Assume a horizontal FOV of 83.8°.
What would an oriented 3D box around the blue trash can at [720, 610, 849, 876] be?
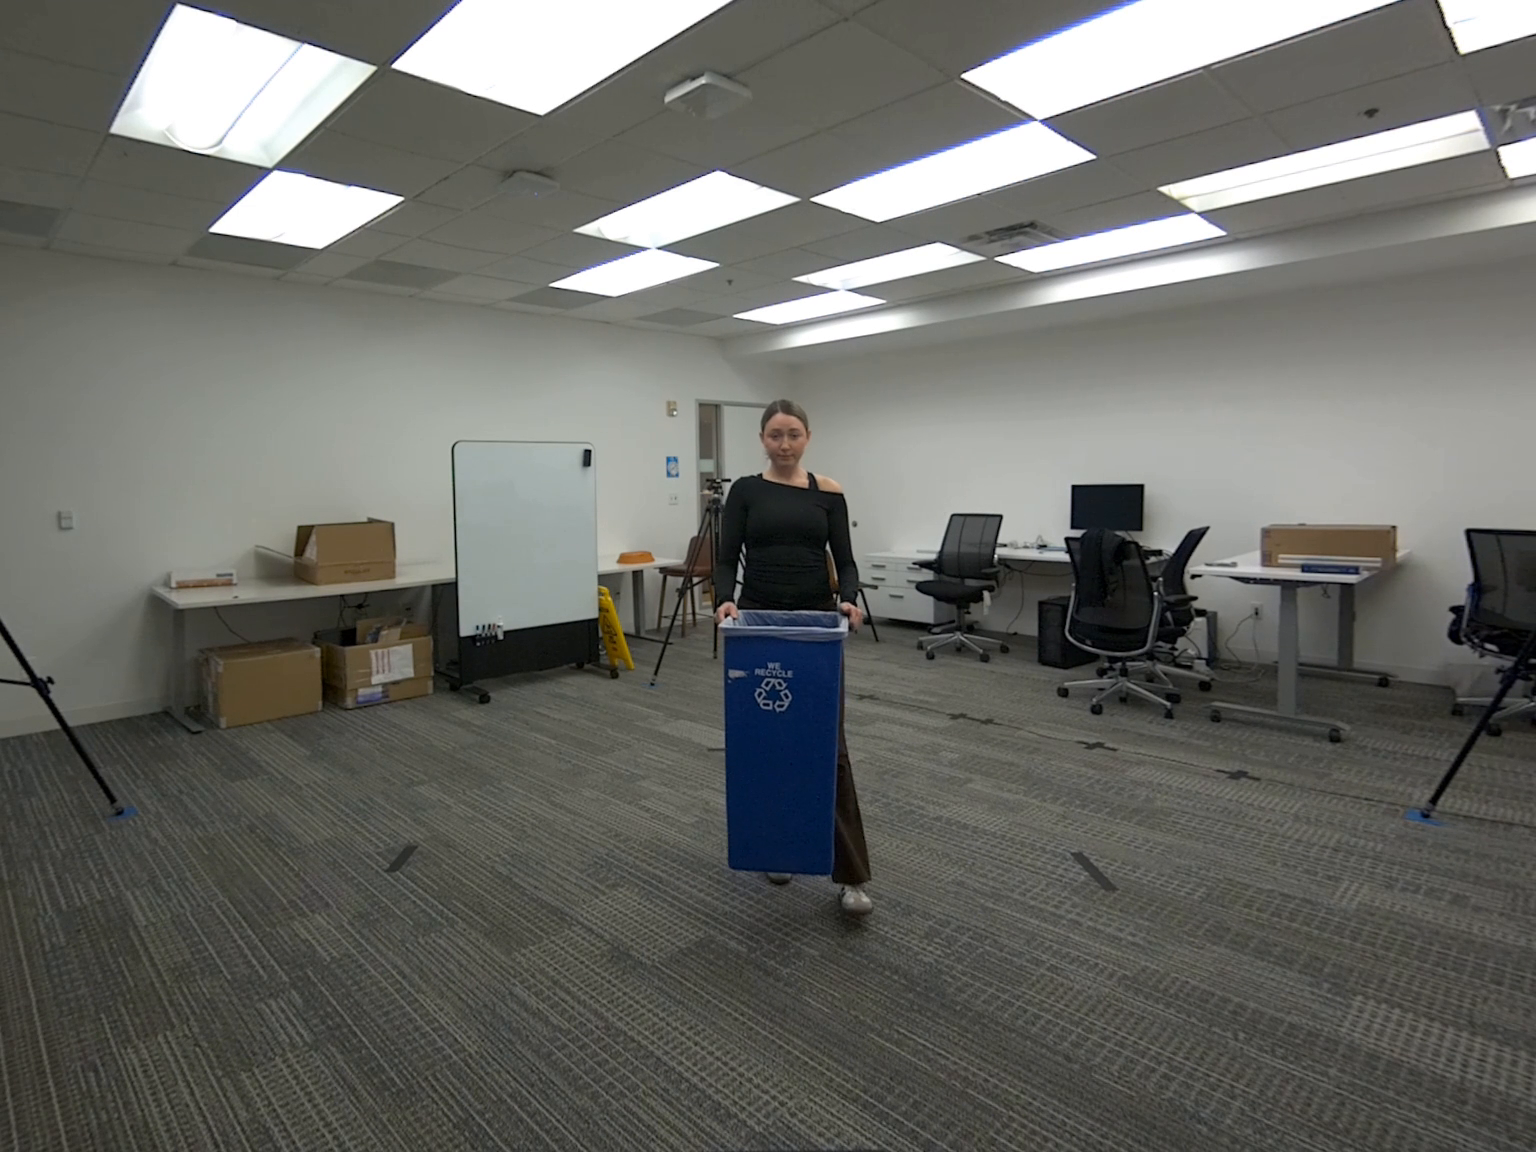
[{"bbox_3d":[0.060,0.498,2.578,0.377,0.712,0.375,1,3,8],"label":"blue trash can"}]
